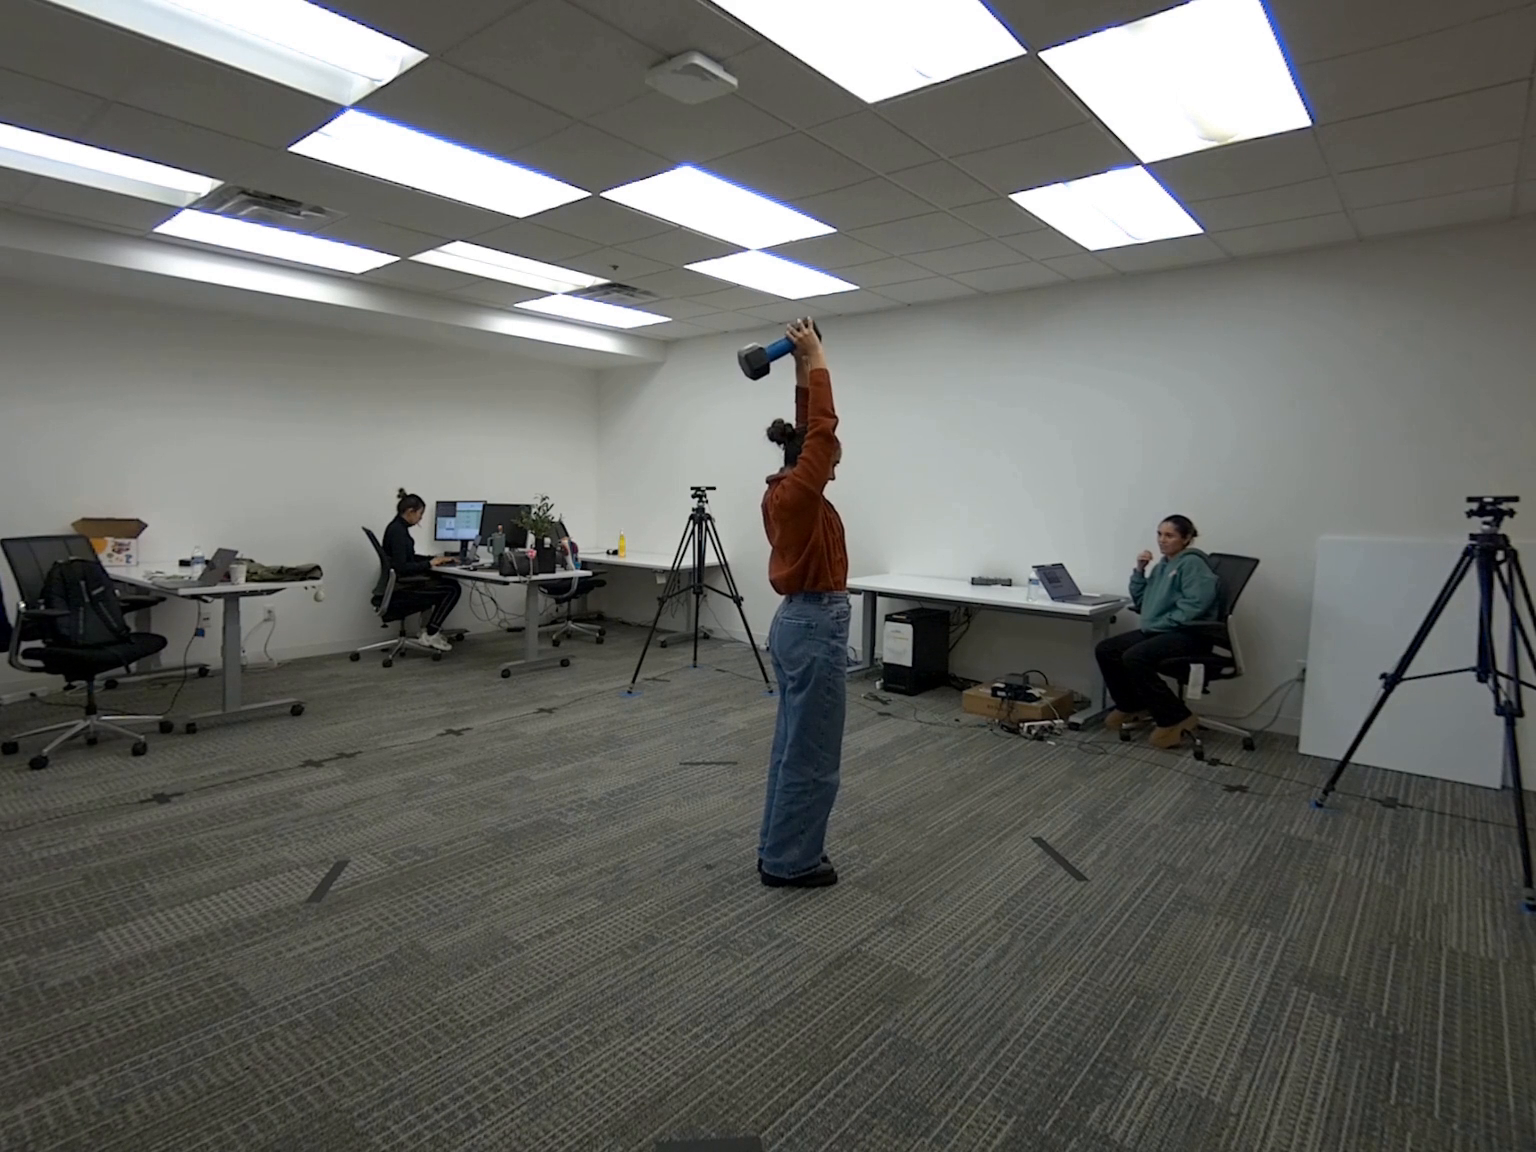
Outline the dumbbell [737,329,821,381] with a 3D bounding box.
[{"bbox_3d":[0.034,-0.794,2.970,0.292,0.122,0.110,-31,5,-10],"label":"dumbbell"}]
